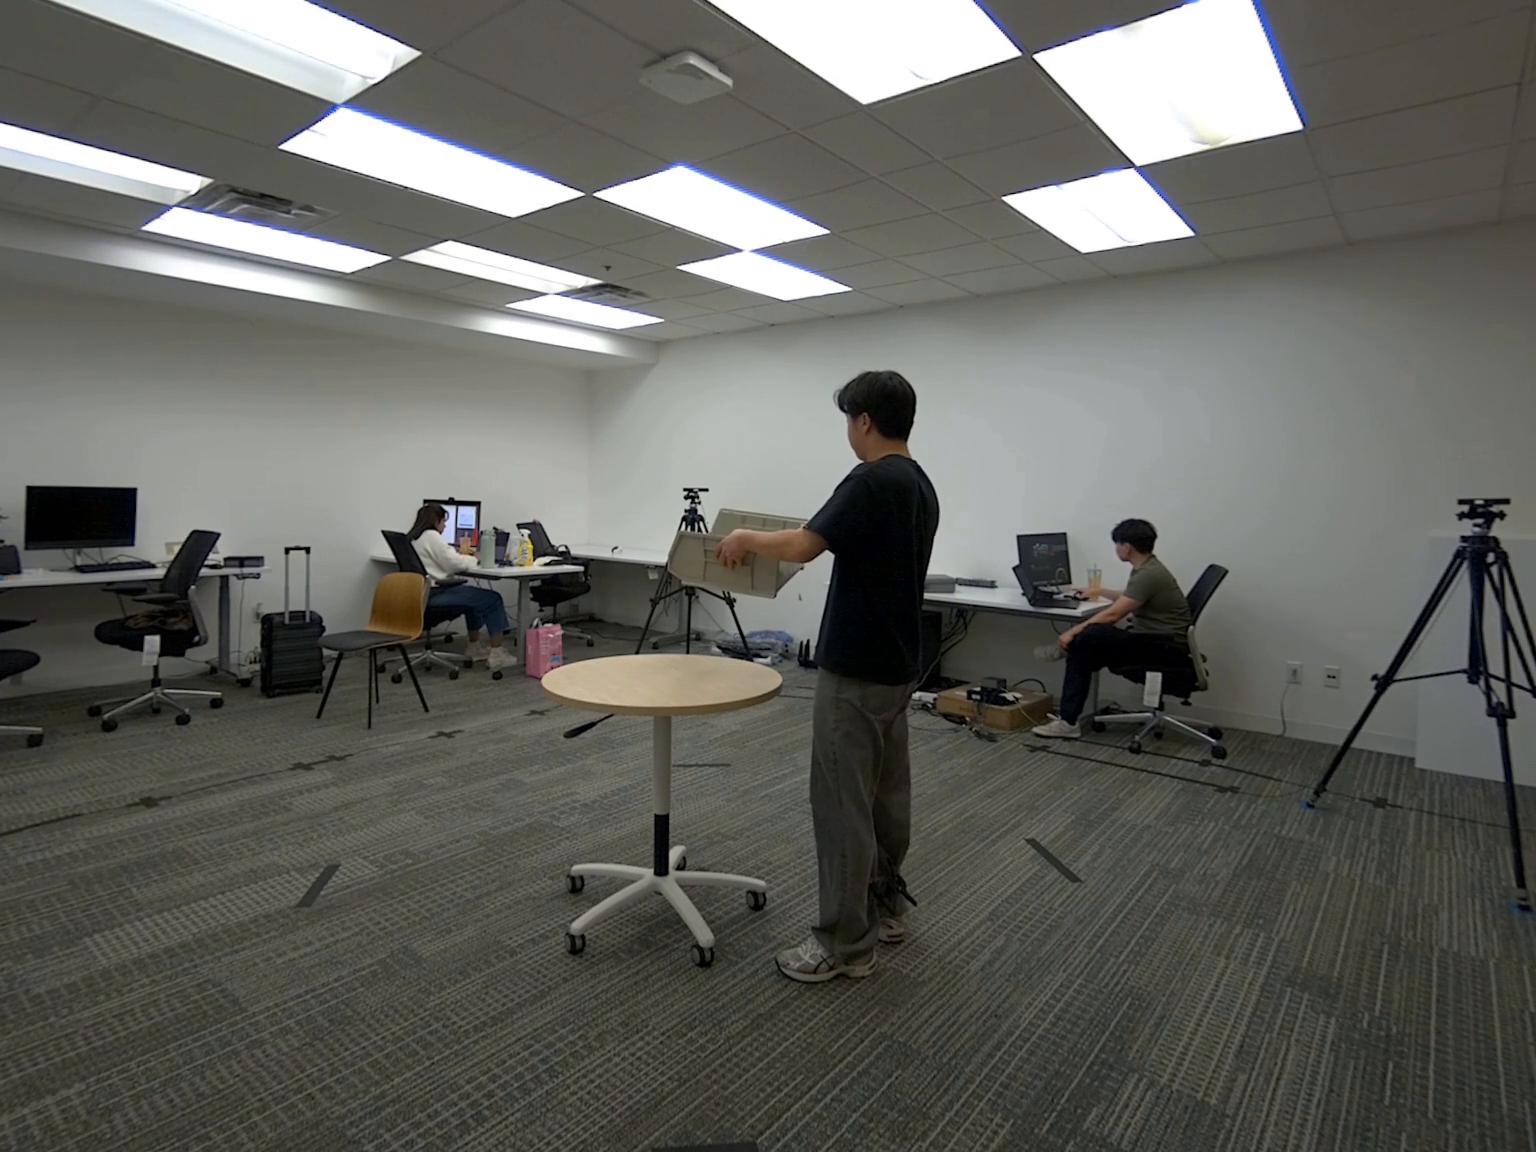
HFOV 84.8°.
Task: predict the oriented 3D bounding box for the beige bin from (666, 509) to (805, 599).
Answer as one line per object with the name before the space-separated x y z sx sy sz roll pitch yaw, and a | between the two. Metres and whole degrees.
beige bin | -0.097 -0.085 2.883 0.384 0.186 0.420 9 16 15
